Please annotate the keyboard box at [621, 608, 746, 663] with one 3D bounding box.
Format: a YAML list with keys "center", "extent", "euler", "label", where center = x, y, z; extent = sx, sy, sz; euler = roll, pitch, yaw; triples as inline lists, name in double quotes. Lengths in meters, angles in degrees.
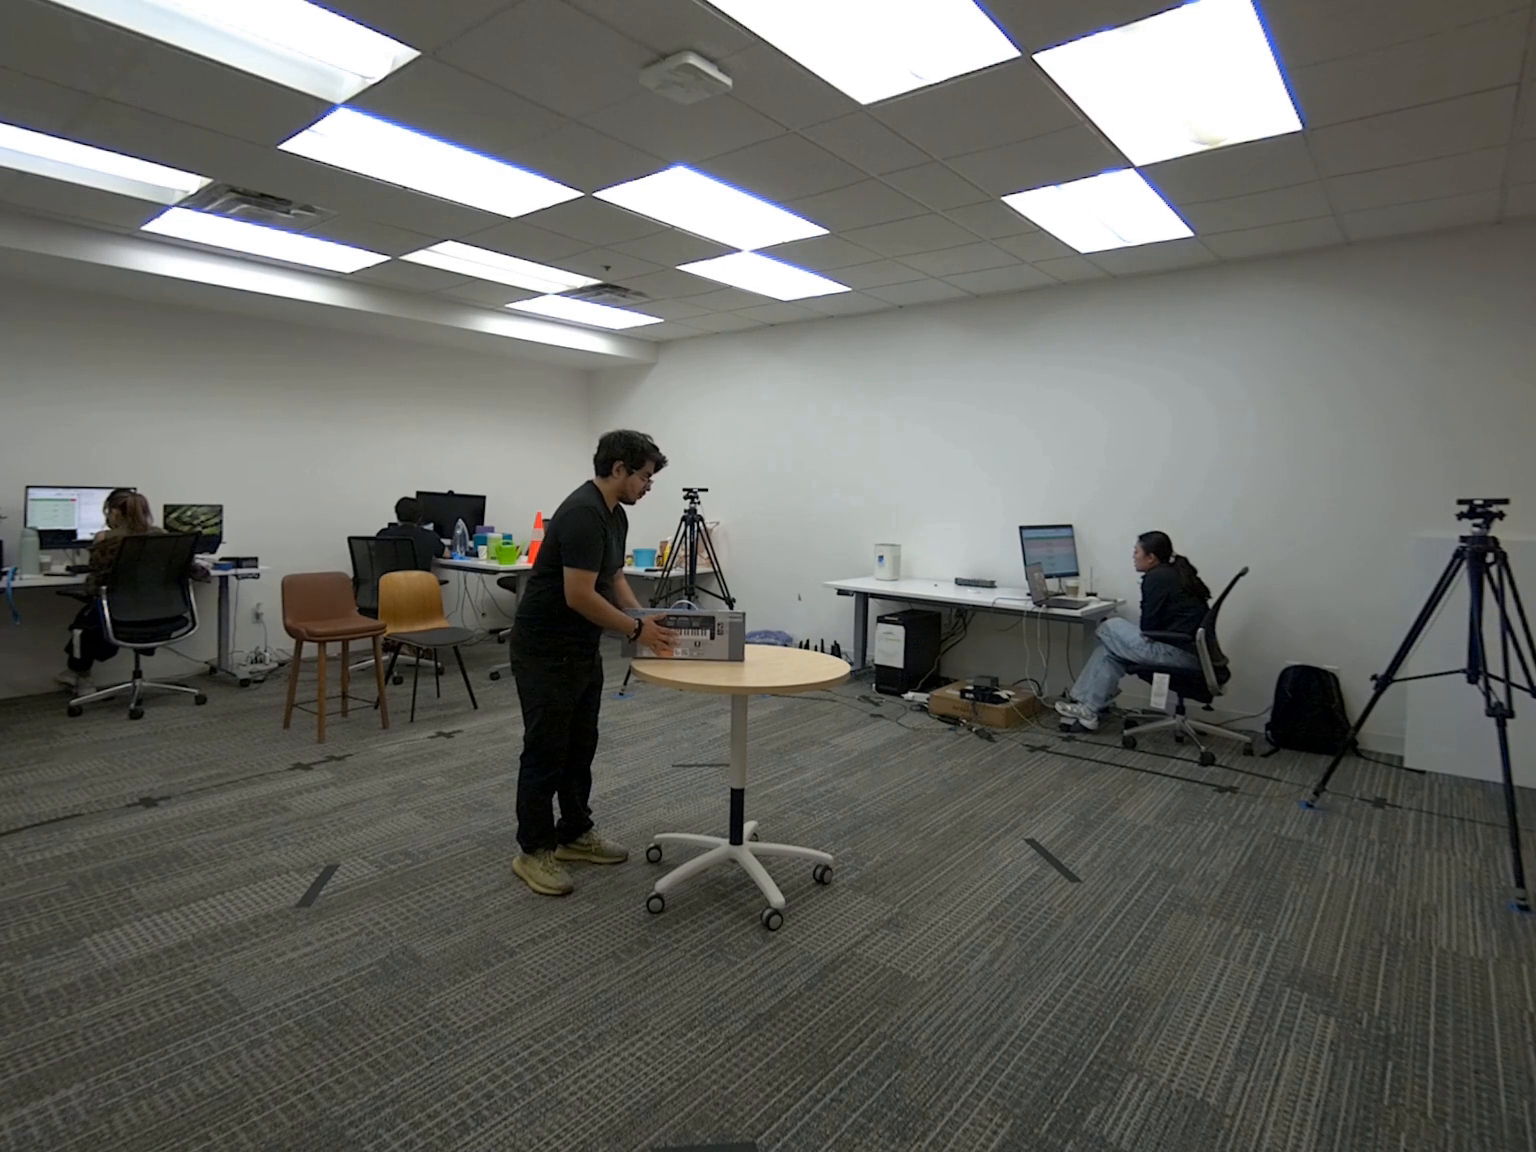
- center: [-0.305, 0.211, 3.024]
  extent: [0.437, 0.176, 0.059]
  euler: [2, 0, 1]
  label: "keyboard box"
